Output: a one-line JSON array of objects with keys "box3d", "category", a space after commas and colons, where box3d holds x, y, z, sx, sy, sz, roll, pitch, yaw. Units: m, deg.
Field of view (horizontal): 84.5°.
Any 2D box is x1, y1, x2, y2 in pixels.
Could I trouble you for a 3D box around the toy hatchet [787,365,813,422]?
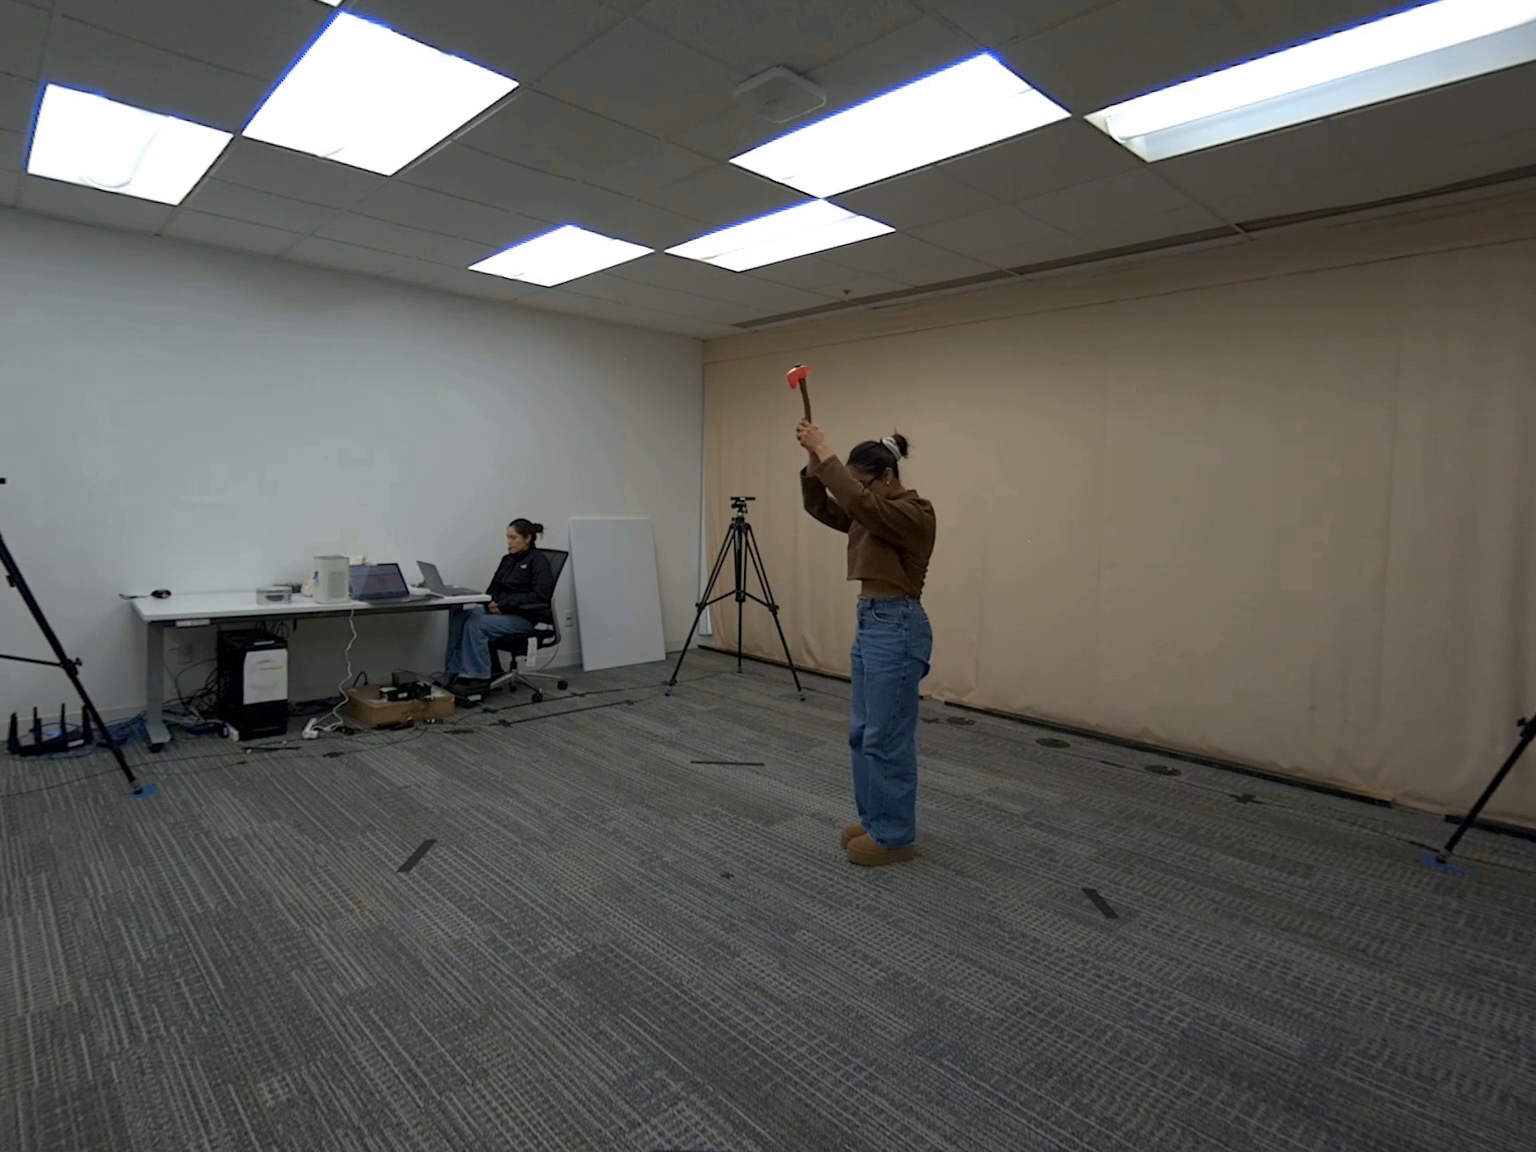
[{"box3d": [0.107, -0.648, 3.102, 0.030, 0.269, 0.128, 1, 5, 45], "category": "toy hatchet"}]
